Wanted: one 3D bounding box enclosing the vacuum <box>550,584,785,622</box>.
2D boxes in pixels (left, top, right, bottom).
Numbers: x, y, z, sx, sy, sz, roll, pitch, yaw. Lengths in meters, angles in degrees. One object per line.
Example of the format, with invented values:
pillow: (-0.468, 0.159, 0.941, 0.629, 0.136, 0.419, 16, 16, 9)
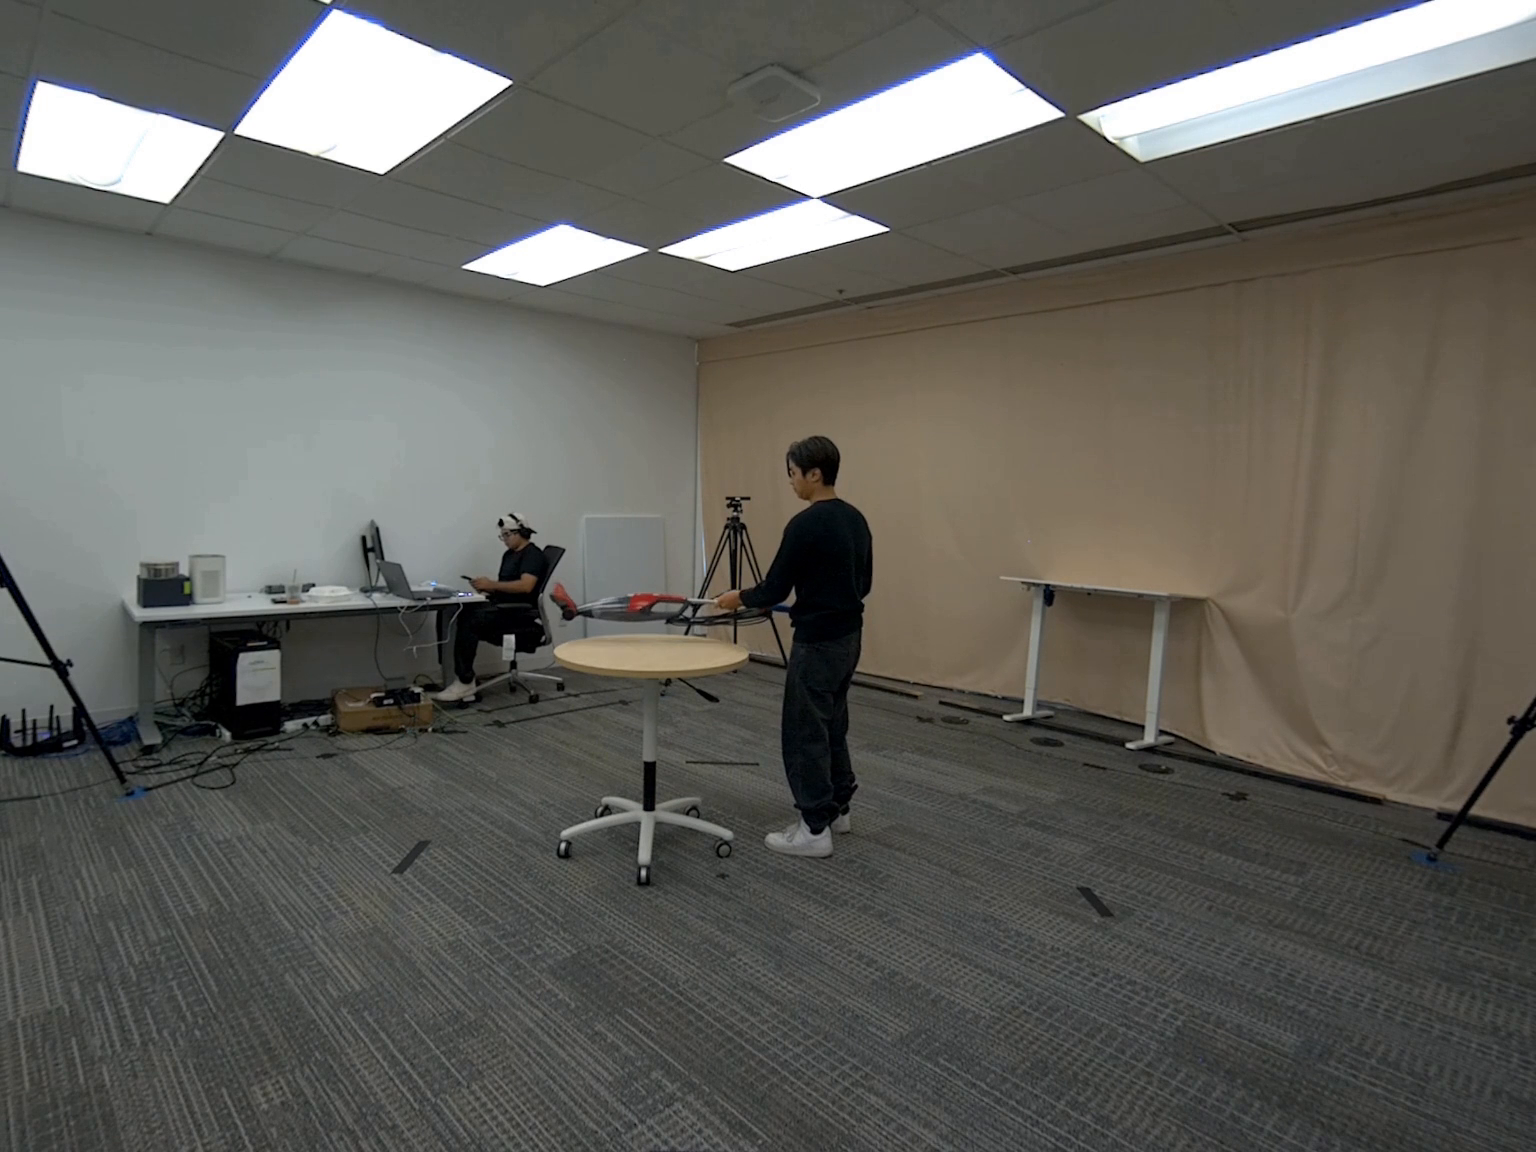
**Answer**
vacuum: (-0.353, 0.146, 3.539, 1.045, 0.143, 0.255, 3, 9, -4)
